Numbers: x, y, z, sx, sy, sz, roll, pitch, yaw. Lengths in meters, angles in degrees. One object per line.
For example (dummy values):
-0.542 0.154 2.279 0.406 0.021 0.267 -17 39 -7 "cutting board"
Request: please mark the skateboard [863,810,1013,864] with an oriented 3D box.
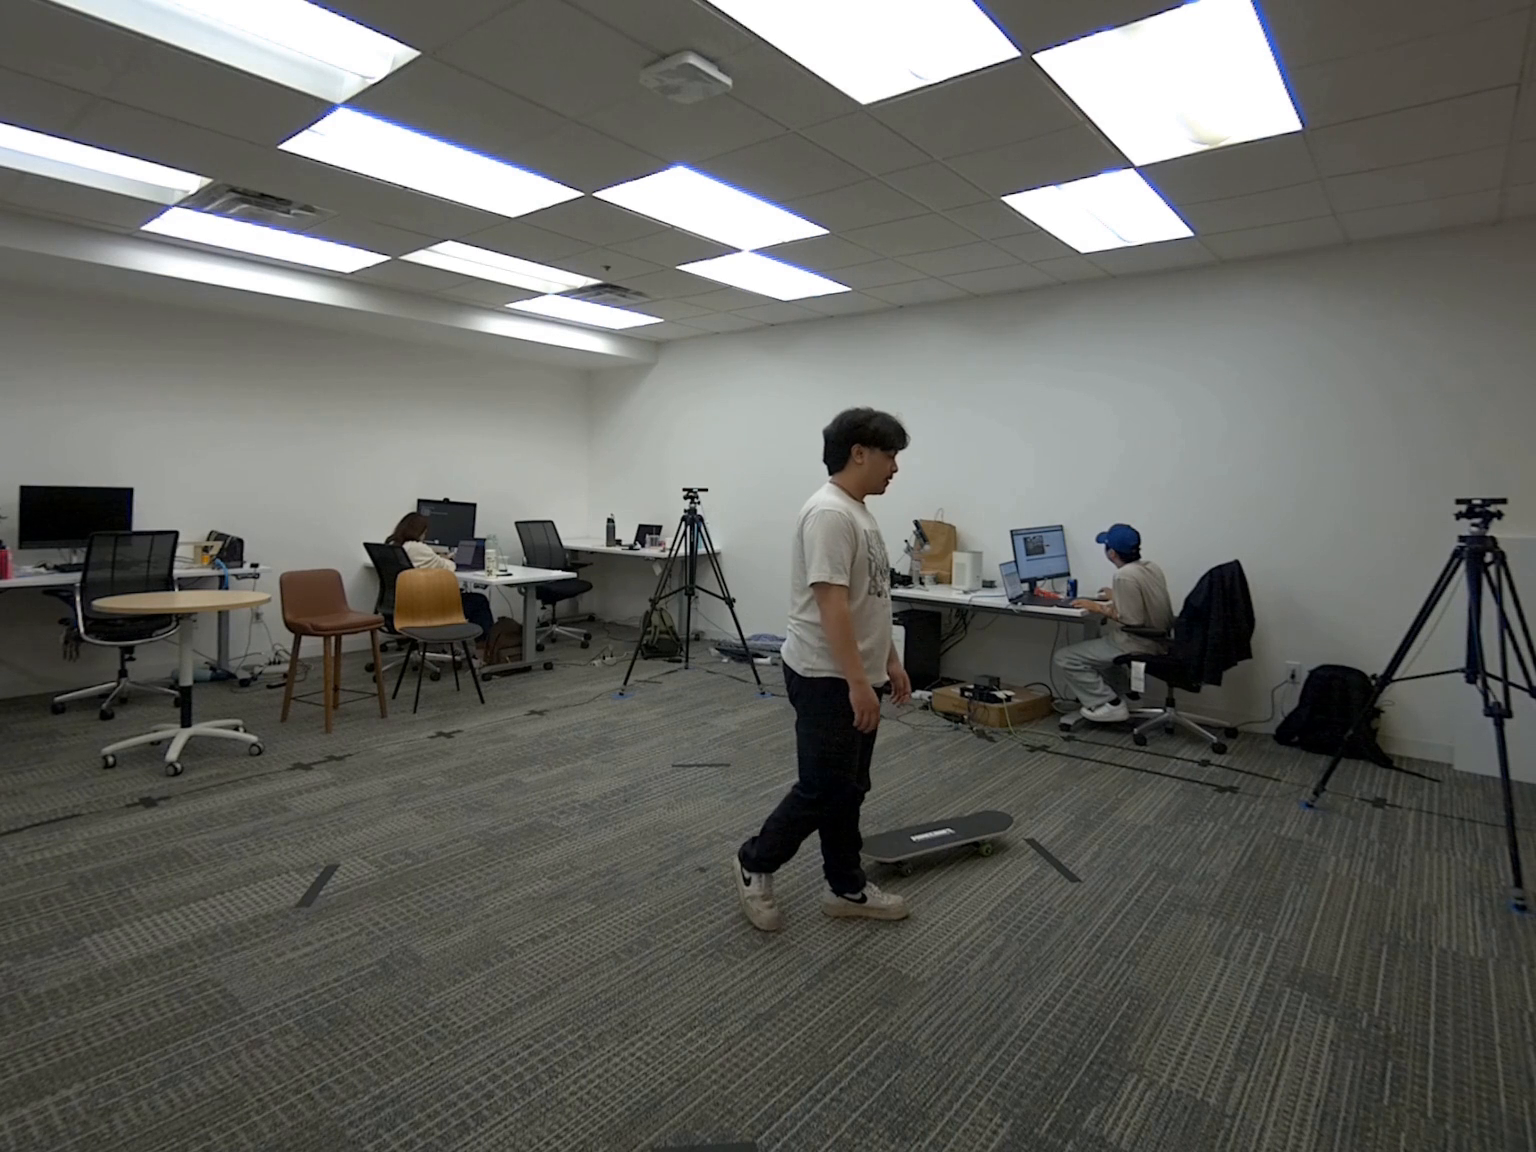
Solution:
0.622 1.017 3.258 0.765 0.110 0.199 -2 6 -29 "skateboard"
